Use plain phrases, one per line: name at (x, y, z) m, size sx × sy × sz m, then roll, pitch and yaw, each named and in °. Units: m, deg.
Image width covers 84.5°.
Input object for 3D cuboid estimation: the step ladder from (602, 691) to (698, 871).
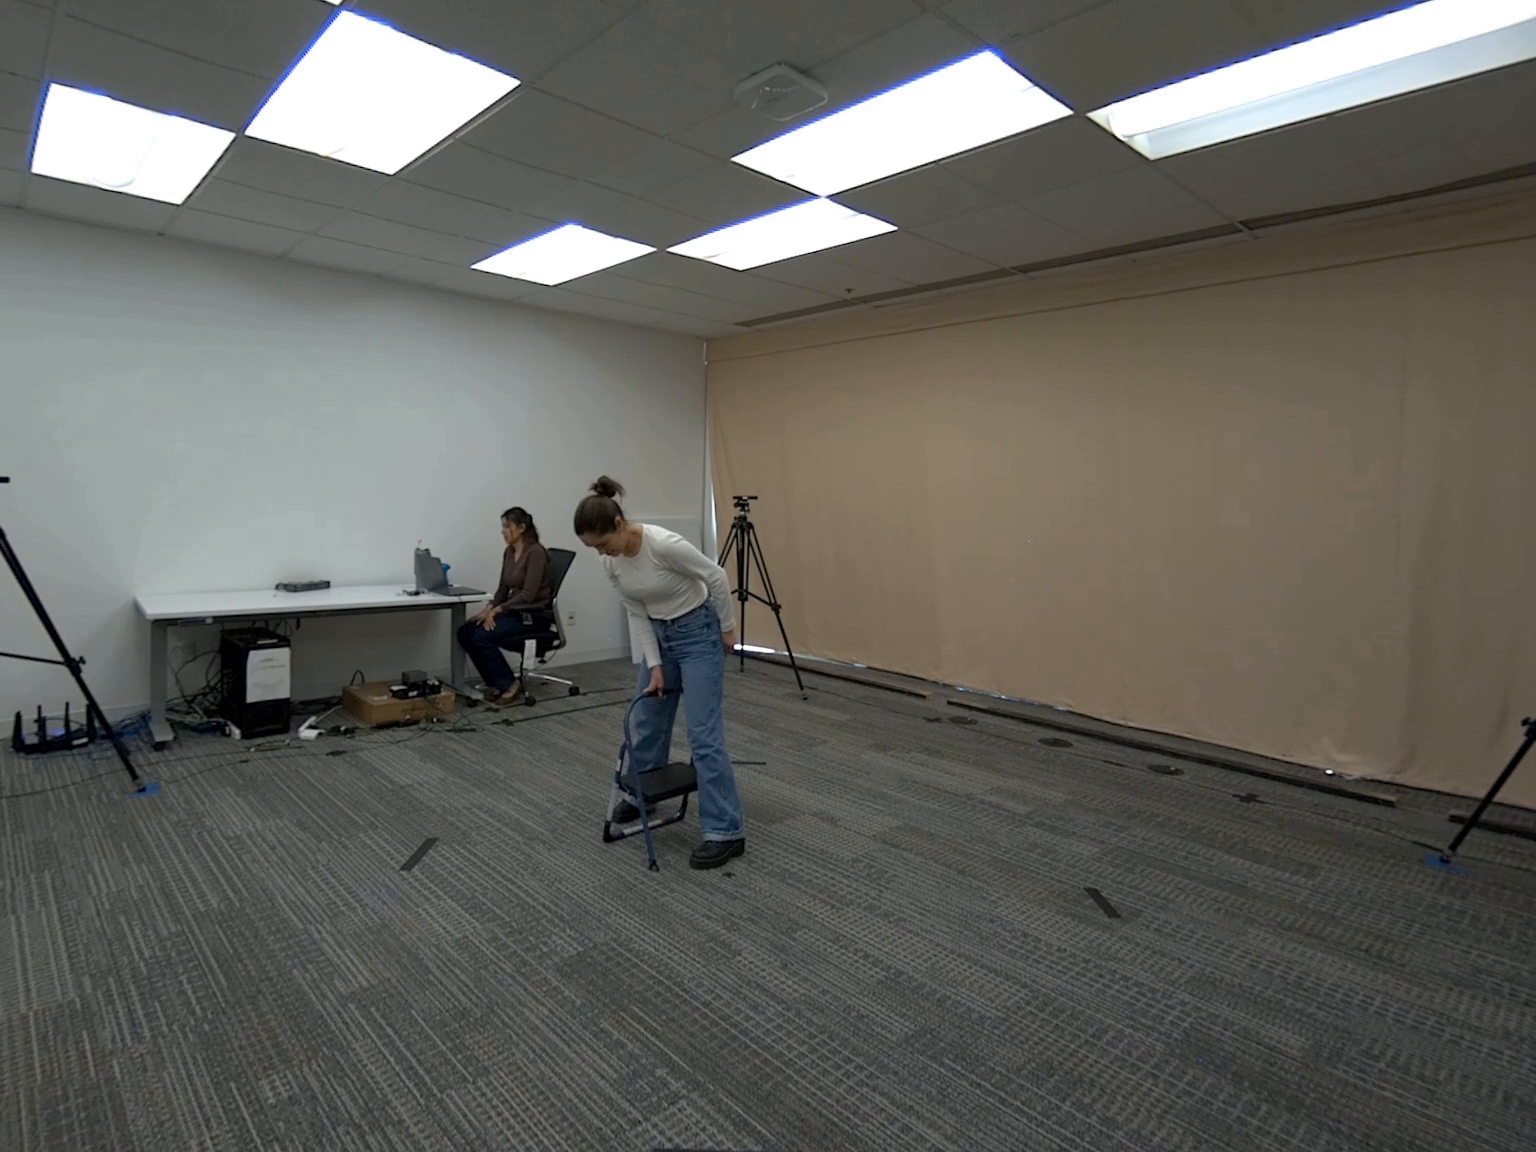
step ladder at (-0.401, 0.774, 3.369) m, size 0.421 × 0.604 × 0.358 m, roll -2°, pitch 6°, yaw -45°
